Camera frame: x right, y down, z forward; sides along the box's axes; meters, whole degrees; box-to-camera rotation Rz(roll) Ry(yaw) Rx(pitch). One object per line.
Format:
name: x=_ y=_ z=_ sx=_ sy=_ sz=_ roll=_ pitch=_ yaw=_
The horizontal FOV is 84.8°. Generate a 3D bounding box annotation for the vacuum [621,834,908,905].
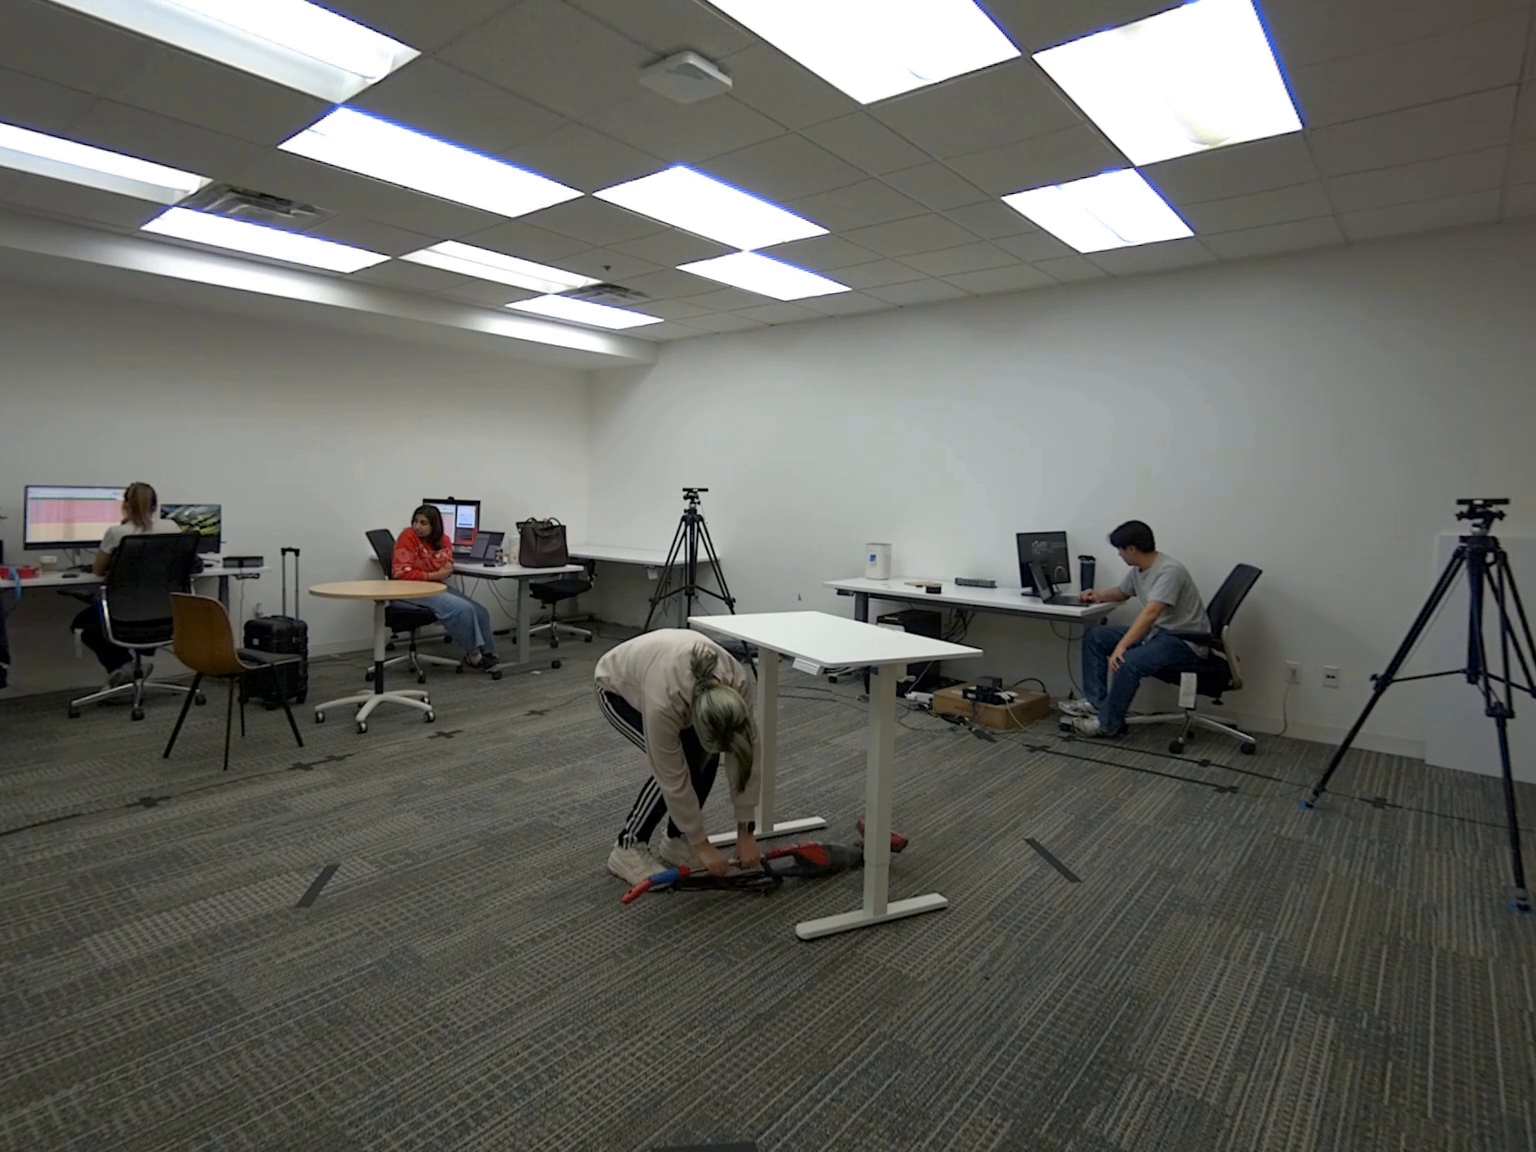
vacuum: x=-0.017 y=1.018 z=2.953 sx=1.020 sy=0.143 sz=0.261 roll=-2 pitch=9 yaw=-32
